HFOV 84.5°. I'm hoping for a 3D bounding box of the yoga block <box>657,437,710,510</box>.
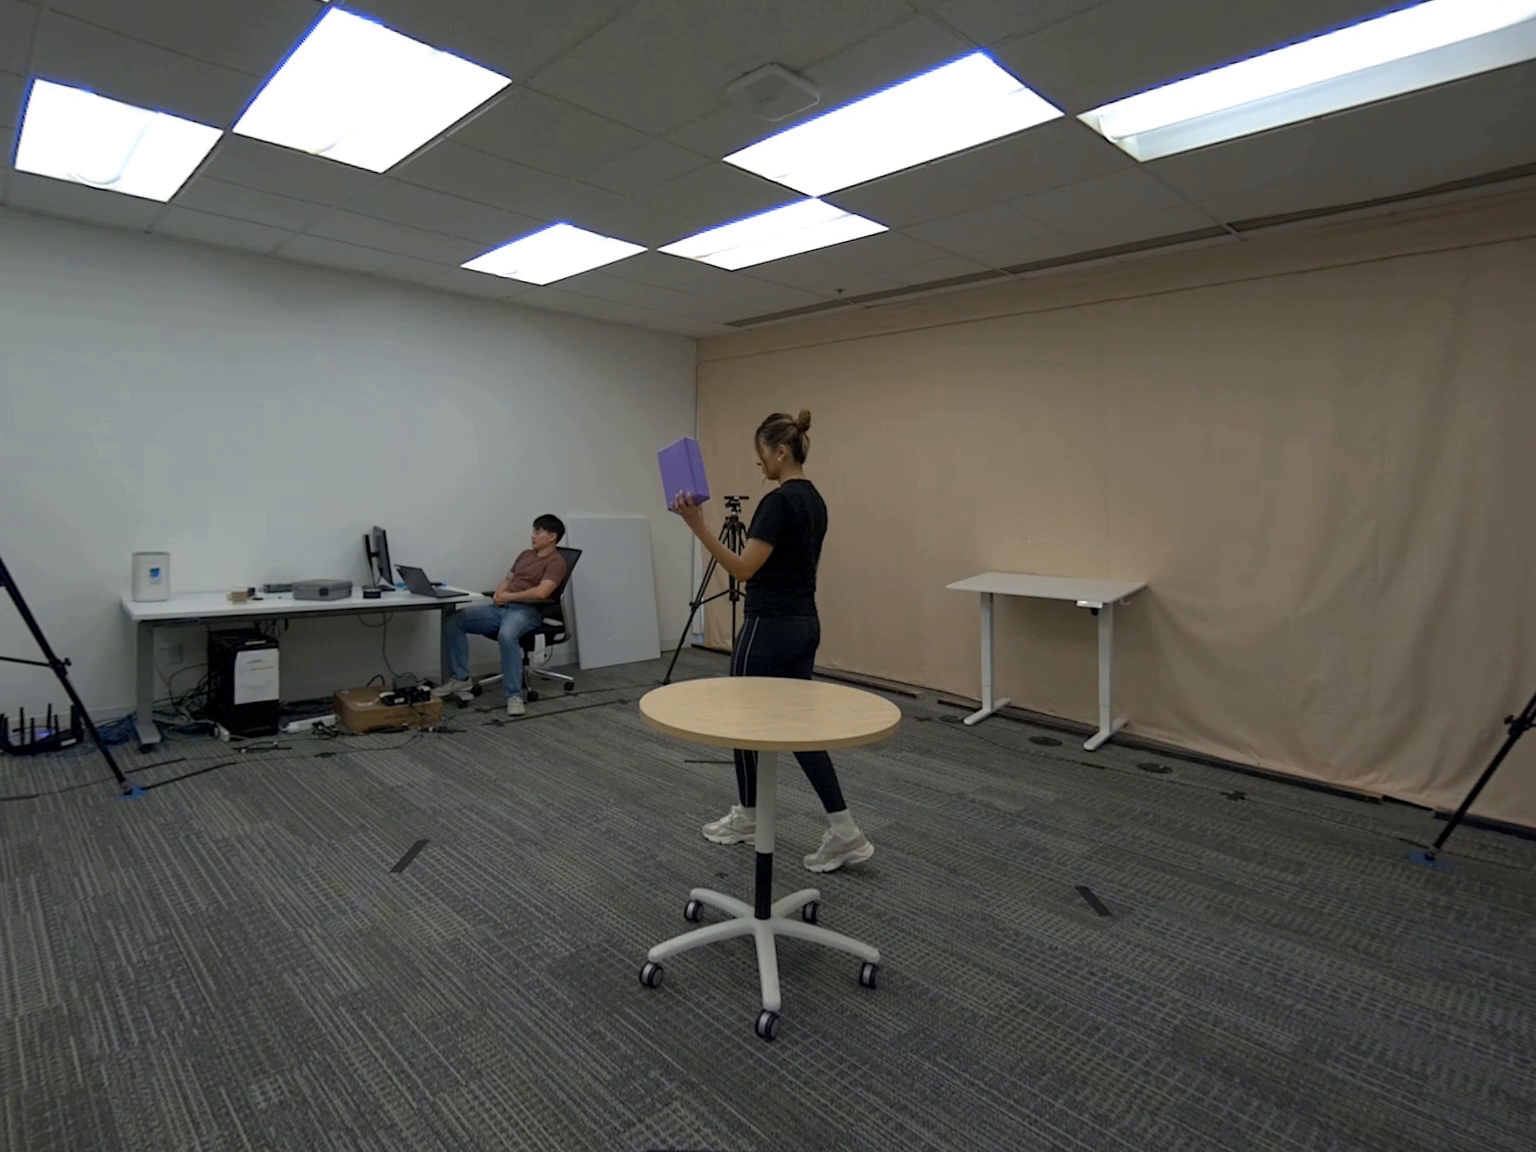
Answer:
[{"bbox_3d":[-0.294,-0.351,2.934,0.151,0.233,0.074,-24,-19,34],"label":"yoga block"}]
